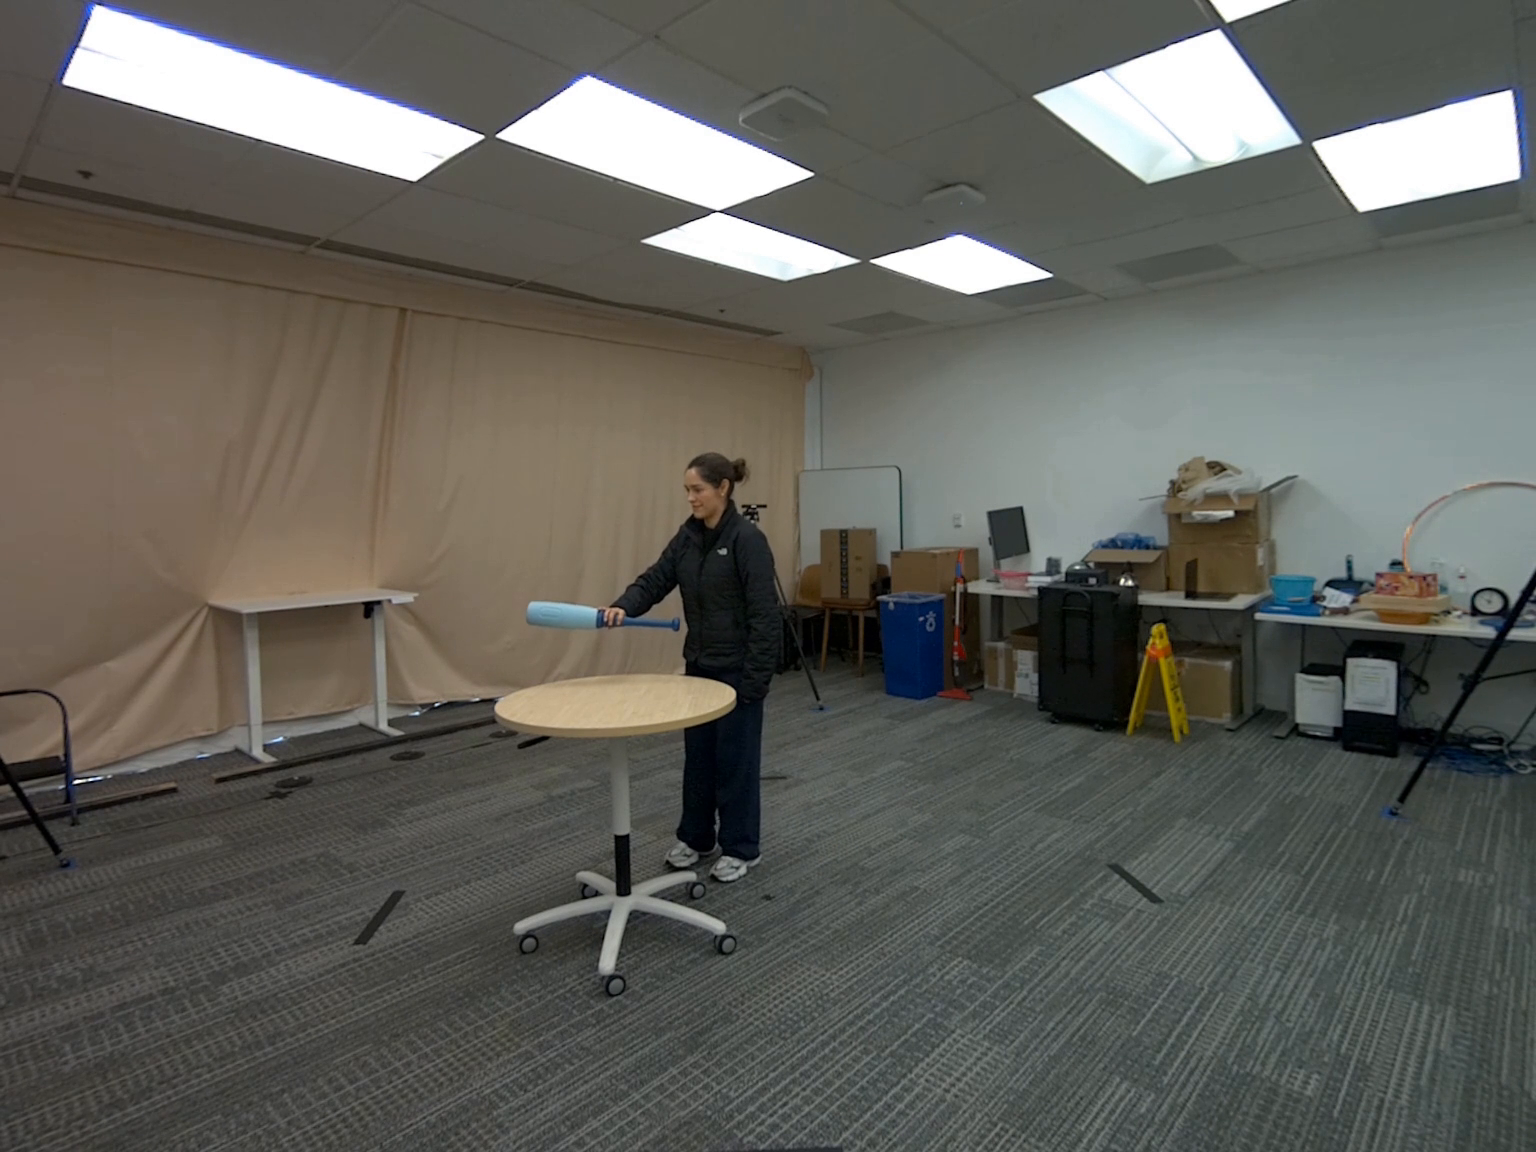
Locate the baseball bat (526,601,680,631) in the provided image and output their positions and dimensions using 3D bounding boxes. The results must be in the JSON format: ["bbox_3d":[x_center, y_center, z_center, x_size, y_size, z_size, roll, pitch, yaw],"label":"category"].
[{"bbox_3d":[-0.556,0.172,2.960,0.546,0.089,0.089,6,4,4],"label":"baseball bat"}]
